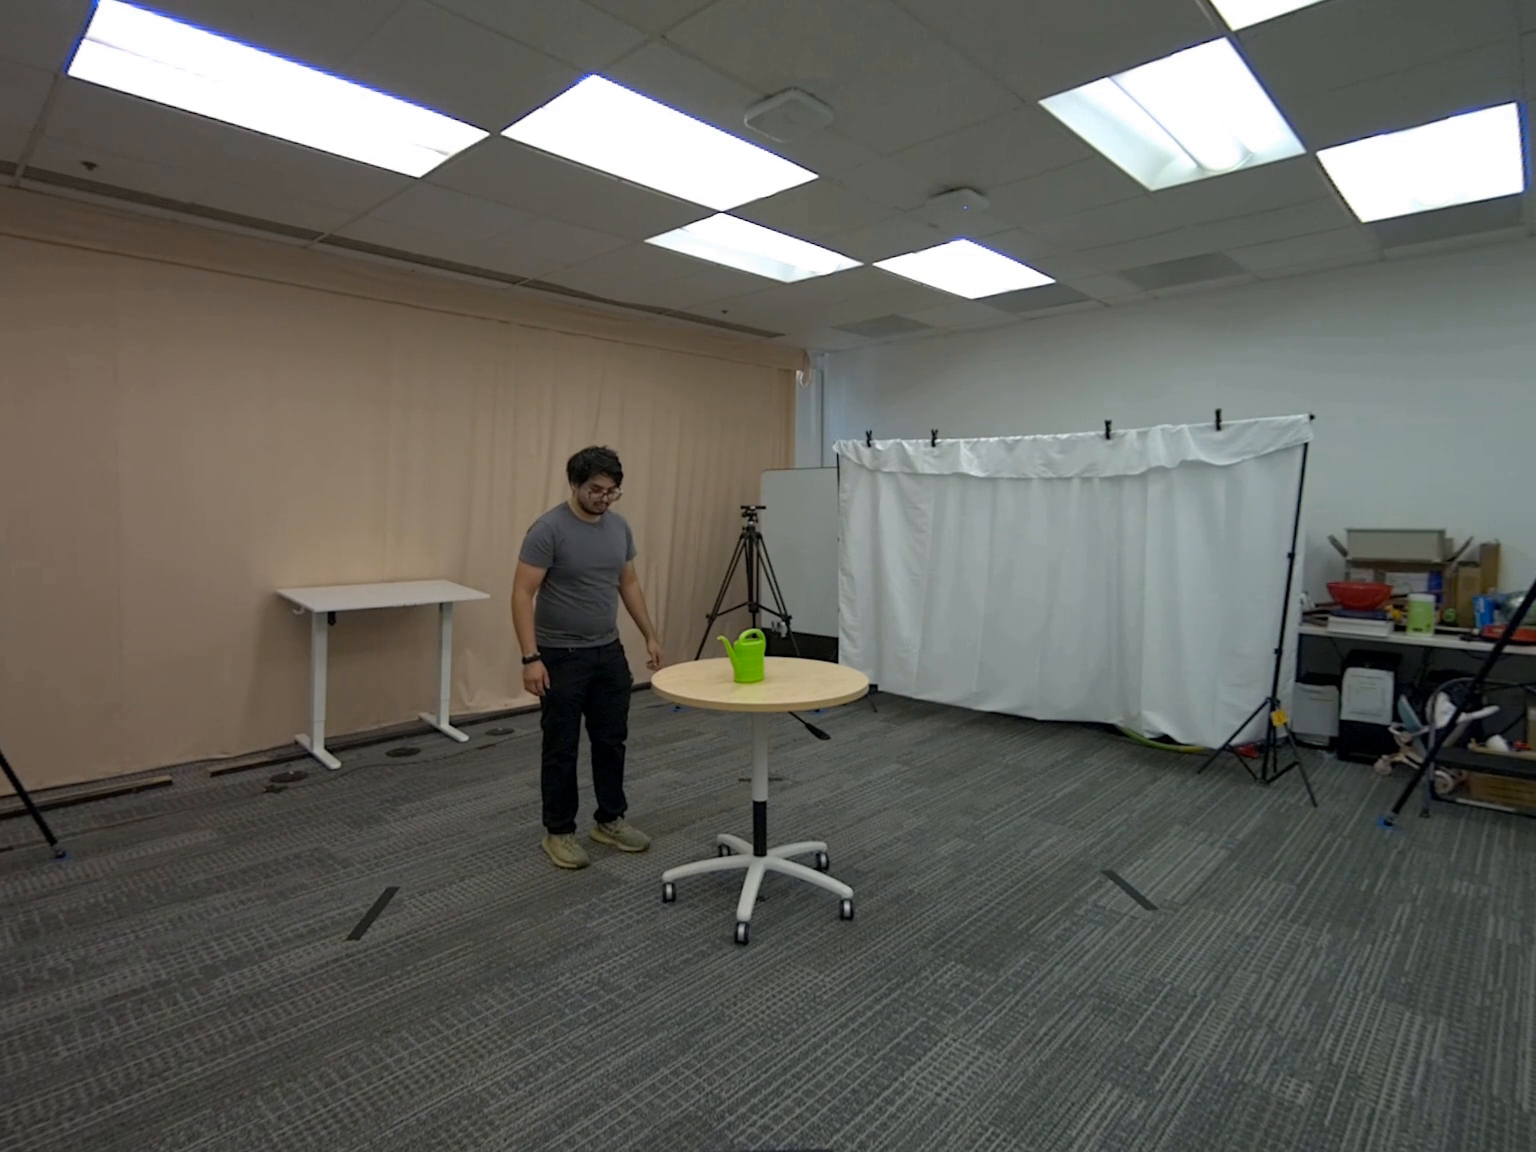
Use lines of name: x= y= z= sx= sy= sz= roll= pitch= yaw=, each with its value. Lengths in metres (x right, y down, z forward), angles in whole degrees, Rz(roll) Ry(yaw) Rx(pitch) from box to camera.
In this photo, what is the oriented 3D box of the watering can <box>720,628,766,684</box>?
watering can: x=-0.087 y=0.280 z=2.909 sx=0.270 sy=0.176 sz=0.101 roll=-3 pitch=5 yaw=-43
